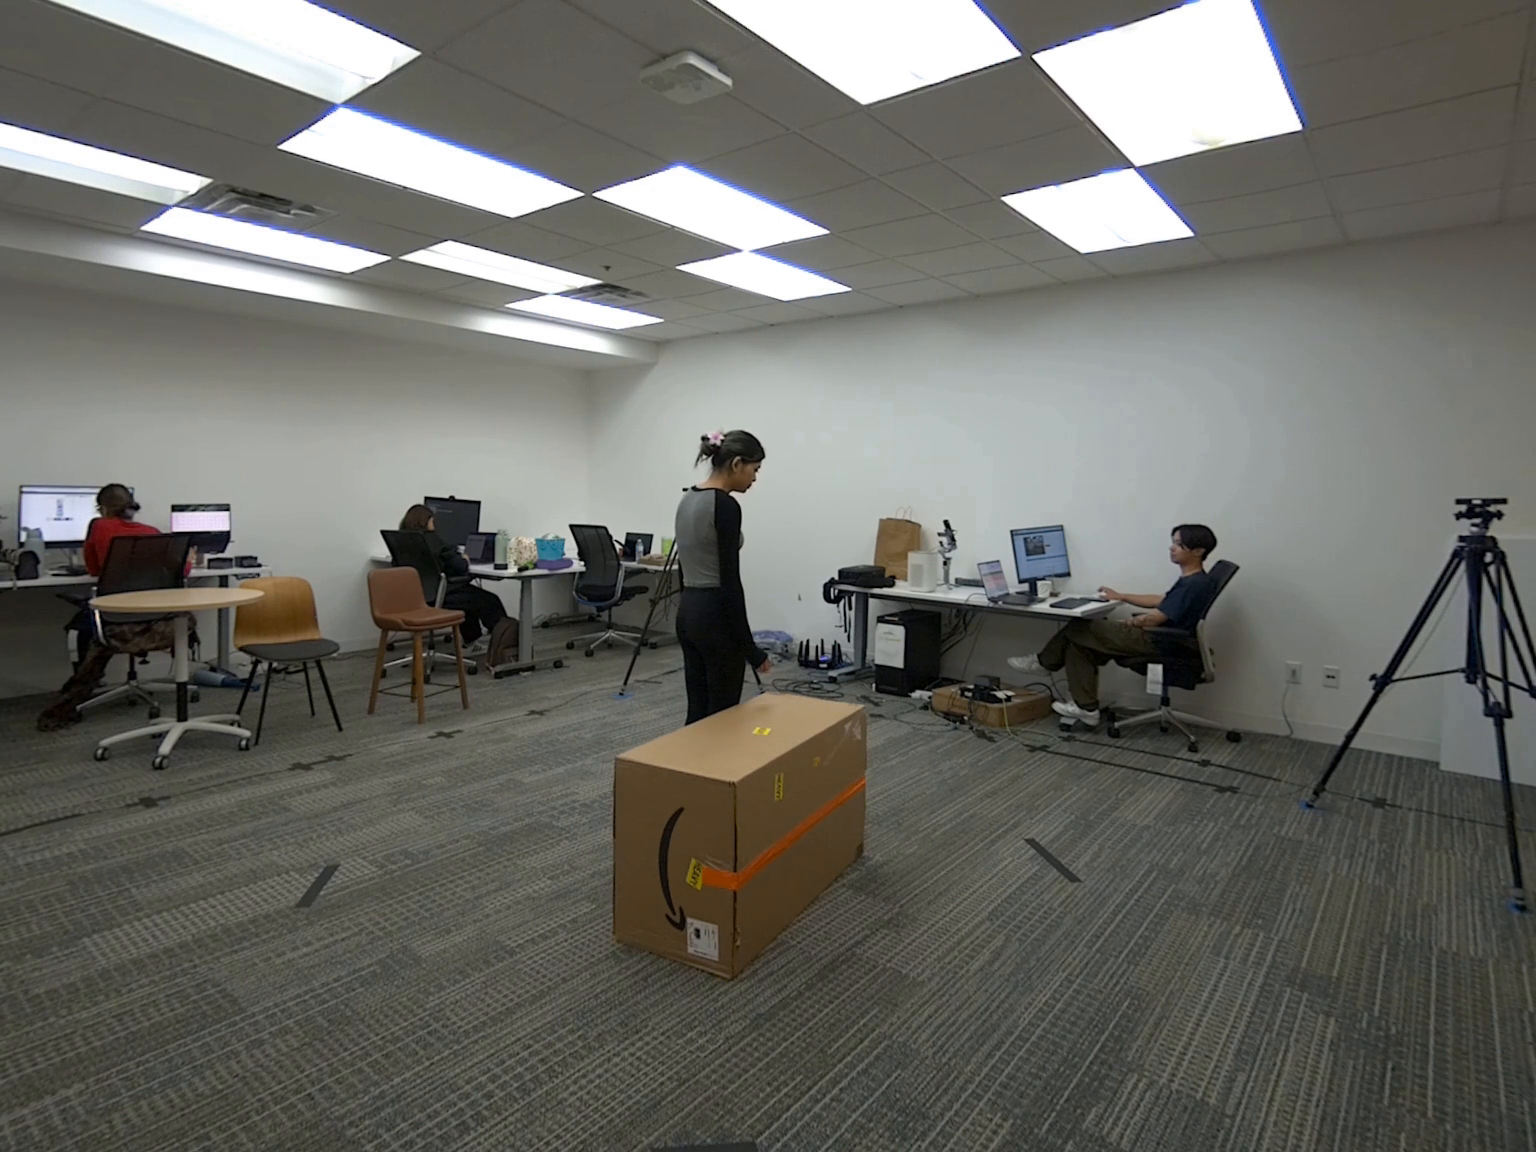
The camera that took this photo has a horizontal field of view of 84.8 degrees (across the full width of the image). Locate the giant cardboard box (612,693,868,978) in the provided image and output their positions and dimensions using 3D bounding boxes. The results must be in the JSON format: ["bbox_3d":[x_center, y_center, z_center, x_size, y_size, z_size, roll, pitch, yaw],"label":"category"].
[{"bbox_3d":[-0.054,0.806,2.918,0.438,0.576,1.000,2,5,29],"label":"giant cardboard box"}]
